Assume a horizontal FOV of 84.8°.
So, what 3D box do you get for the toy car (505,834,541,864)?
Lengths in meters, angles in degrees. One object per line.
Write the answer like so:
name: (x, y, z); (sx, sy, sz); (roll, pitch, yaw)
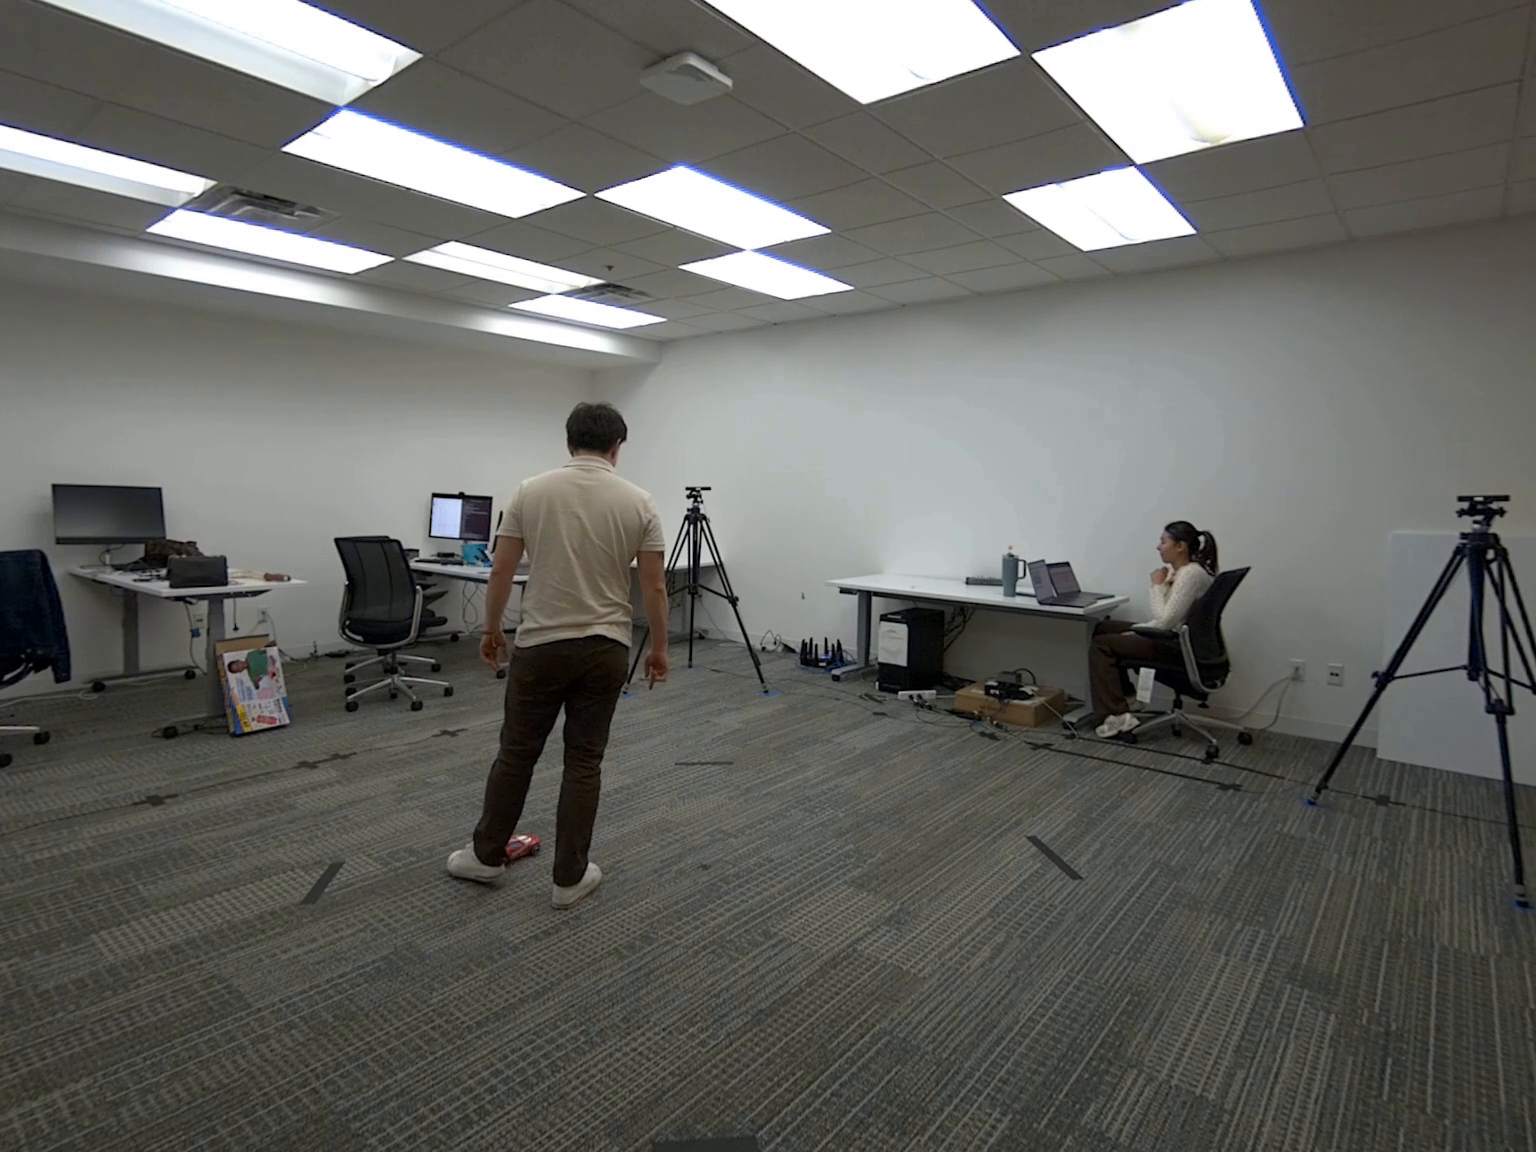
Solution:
toy car: (-0.981, 1.018, 3.154); (0.134, 0.083, 0.245); (3, -5, 39)
